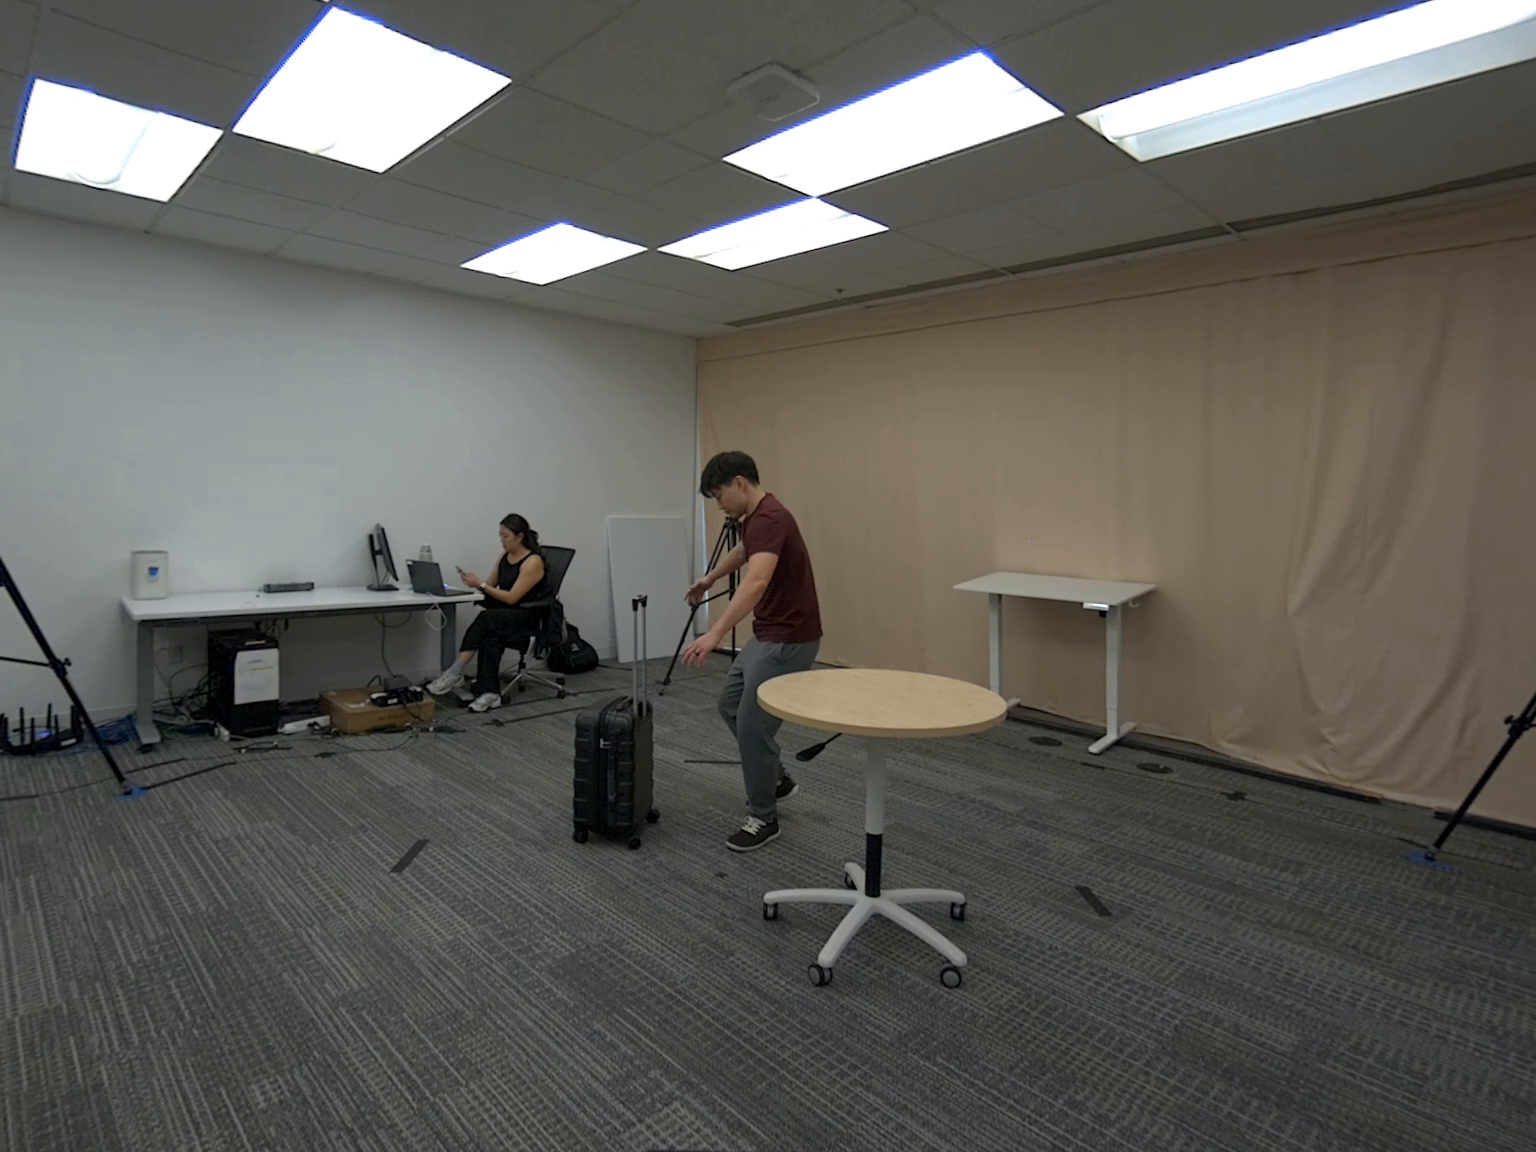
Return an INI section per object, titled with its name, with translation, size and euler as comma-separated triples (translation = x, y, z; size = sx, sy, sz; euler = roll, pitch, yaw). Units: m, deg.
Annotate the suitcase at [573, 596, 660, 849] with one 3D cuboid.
[suitcase]
translation = -0.636, 0.581, 3.457
size = 0.259, 0.977, 0.381
euler = -1, 3, 10
